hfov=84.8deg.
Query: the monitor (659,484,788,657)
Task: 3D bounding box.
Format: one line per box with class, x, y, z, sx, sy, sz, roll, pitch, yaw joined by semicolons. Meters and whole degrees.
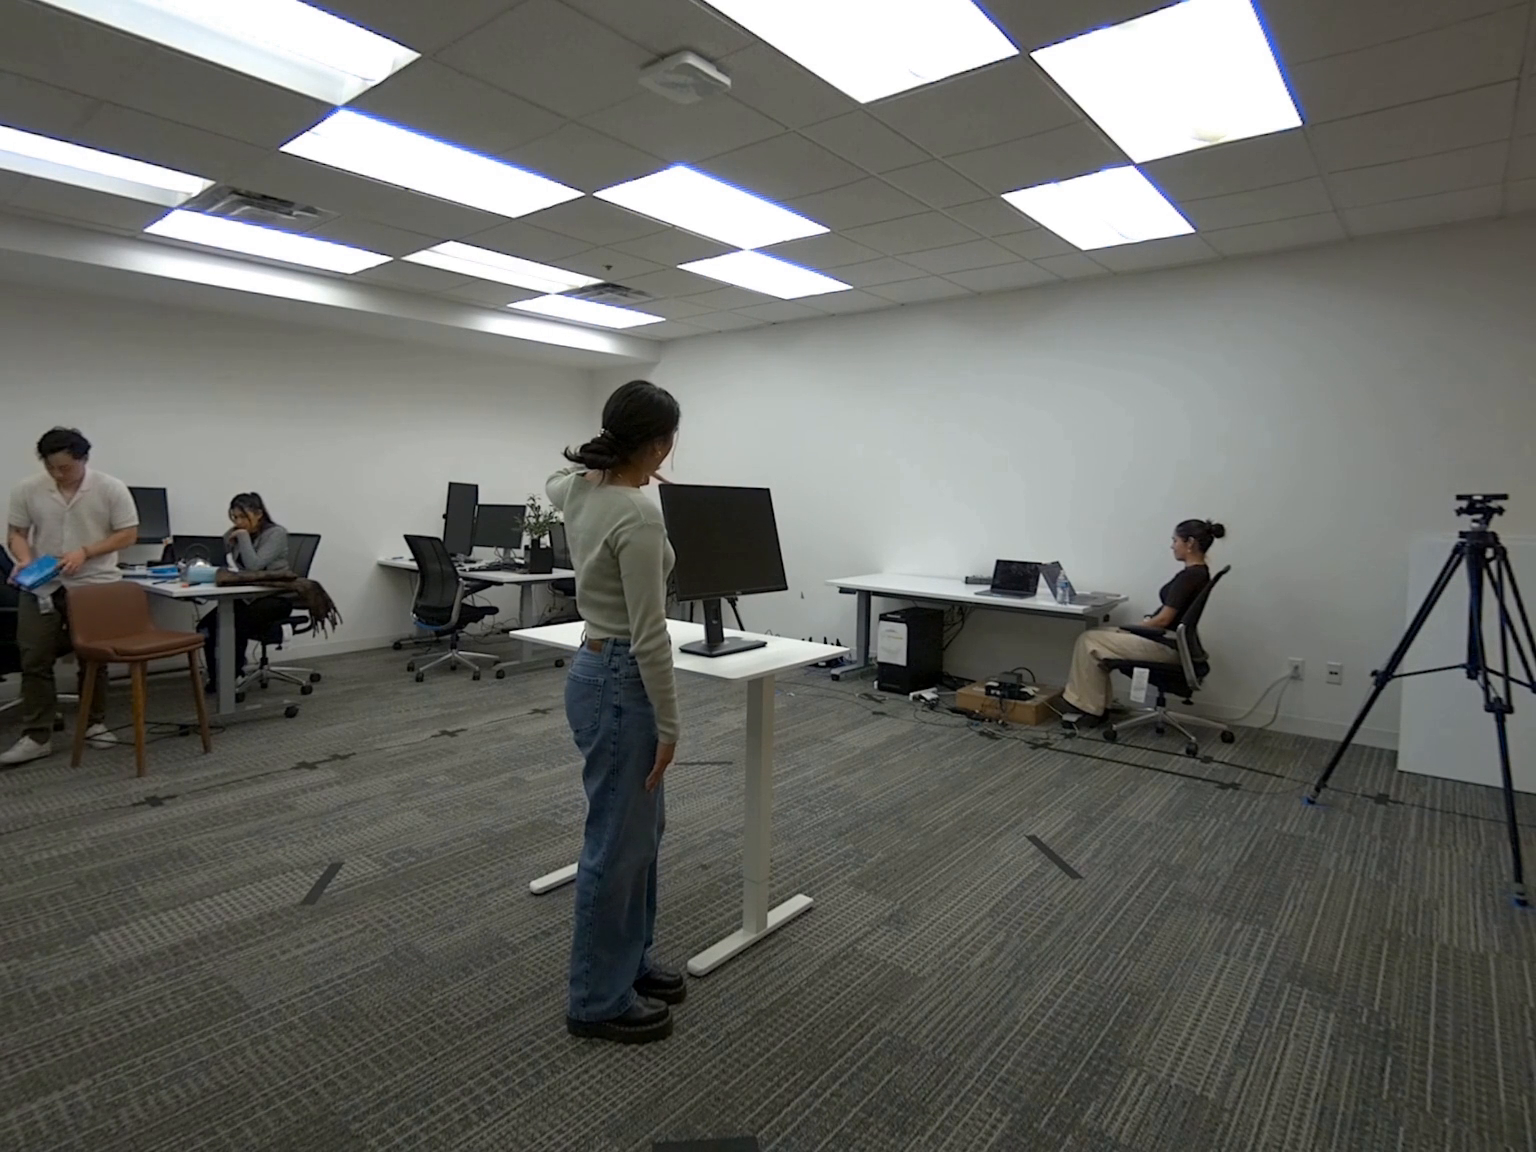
monitor;-0.158;-0.024;2.688;0.193;0.522;0.523;0;2;36
